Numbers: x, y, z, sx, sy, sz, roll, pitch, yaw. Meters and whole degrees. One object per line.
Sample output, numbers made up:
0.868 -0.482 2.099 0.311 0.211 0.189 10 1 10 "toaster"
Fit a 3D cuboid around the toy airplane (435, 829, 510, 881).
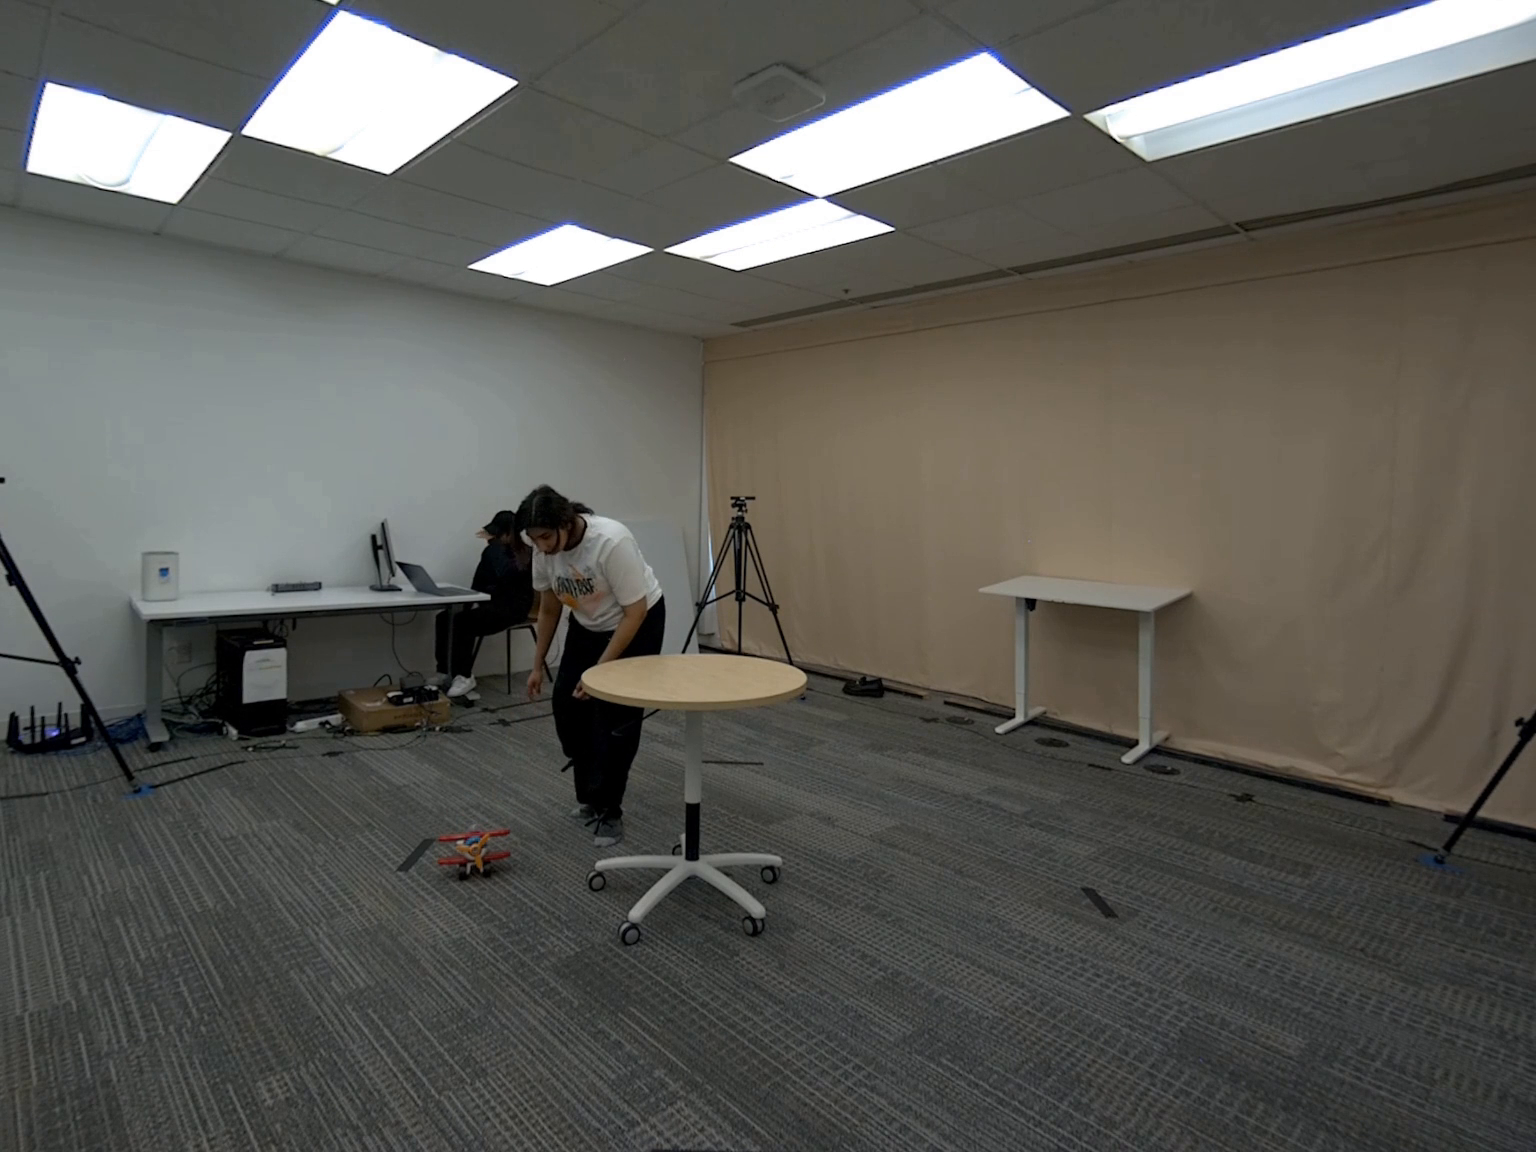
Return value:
-1.112 1.012 3.106 0.266 0.156 0.245 5 7 43 "toy airplane"
